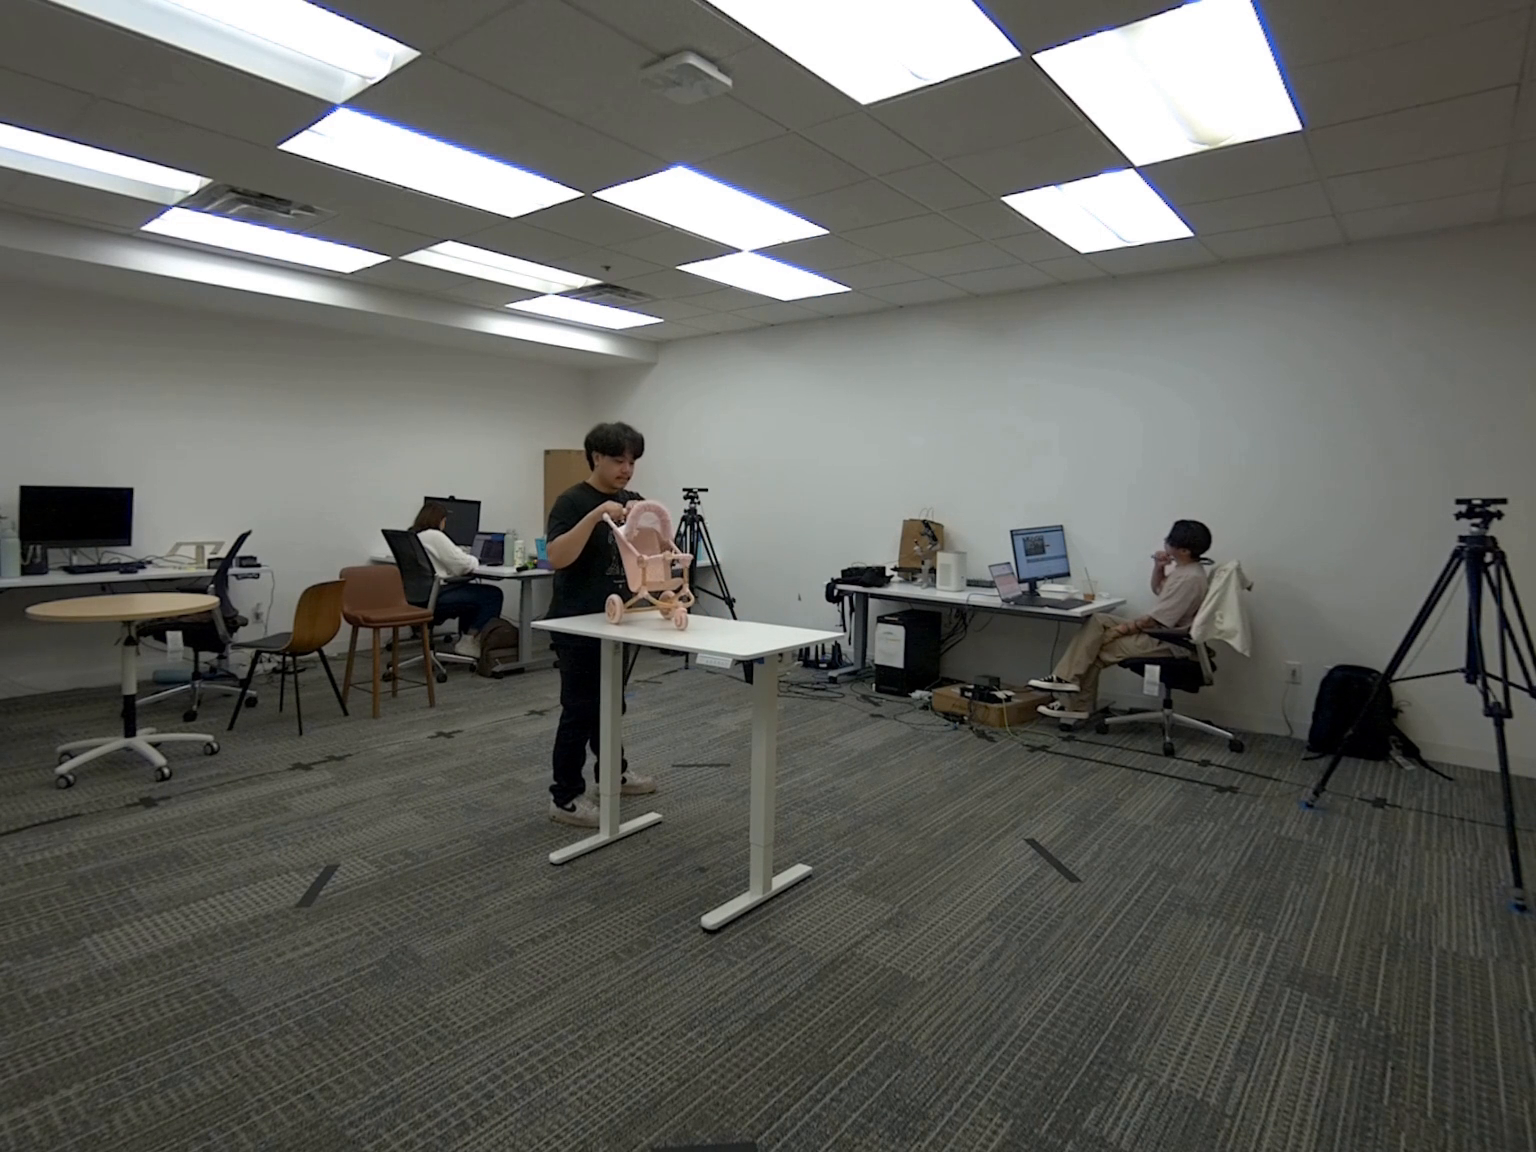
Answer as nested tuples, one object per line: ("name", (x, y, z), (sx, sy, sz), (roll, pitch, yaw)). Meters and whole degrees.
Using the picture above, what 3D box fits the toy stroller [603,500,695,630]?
("toy stroller", (-0.448, -0.047, 3.183), (0.273, 0.541, 0.347), (-1, -12, -36))
